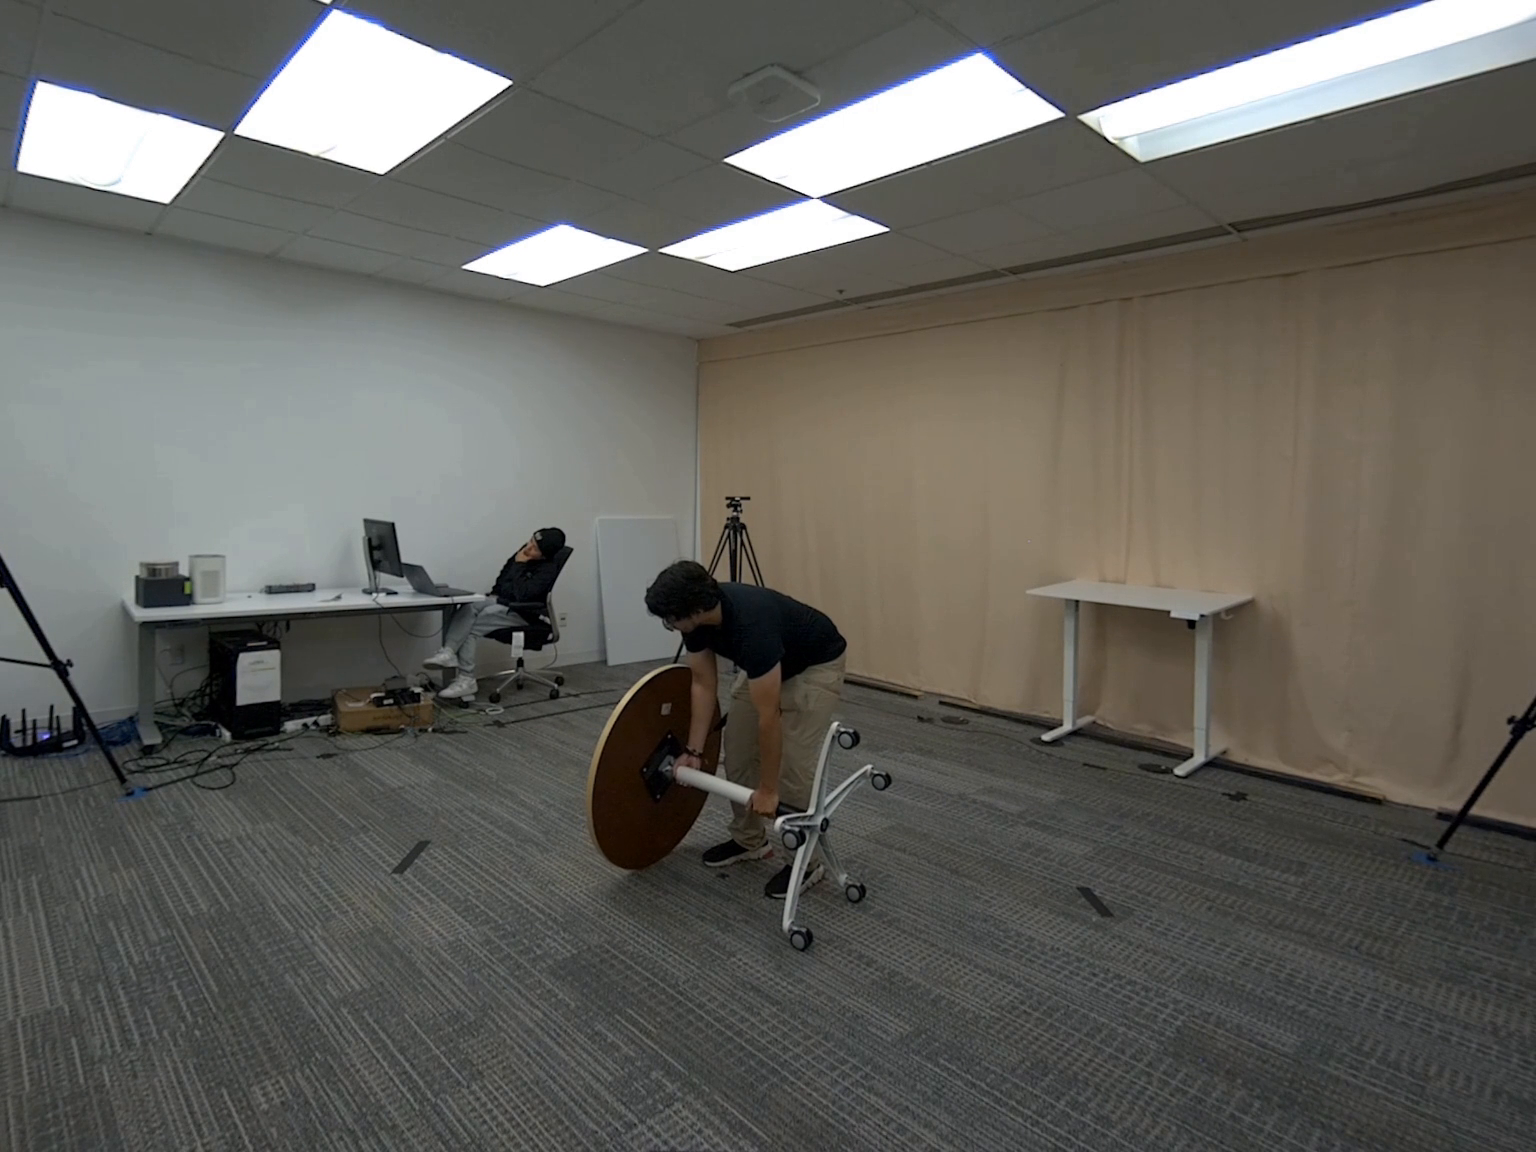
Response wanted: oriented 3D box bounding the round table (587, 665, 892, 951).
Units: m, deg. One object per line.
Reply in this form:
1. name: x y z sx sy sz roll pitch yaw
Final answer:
1. round table: -0.087 0.764 2.948 0.806 0.782 0.769 9 8 32
